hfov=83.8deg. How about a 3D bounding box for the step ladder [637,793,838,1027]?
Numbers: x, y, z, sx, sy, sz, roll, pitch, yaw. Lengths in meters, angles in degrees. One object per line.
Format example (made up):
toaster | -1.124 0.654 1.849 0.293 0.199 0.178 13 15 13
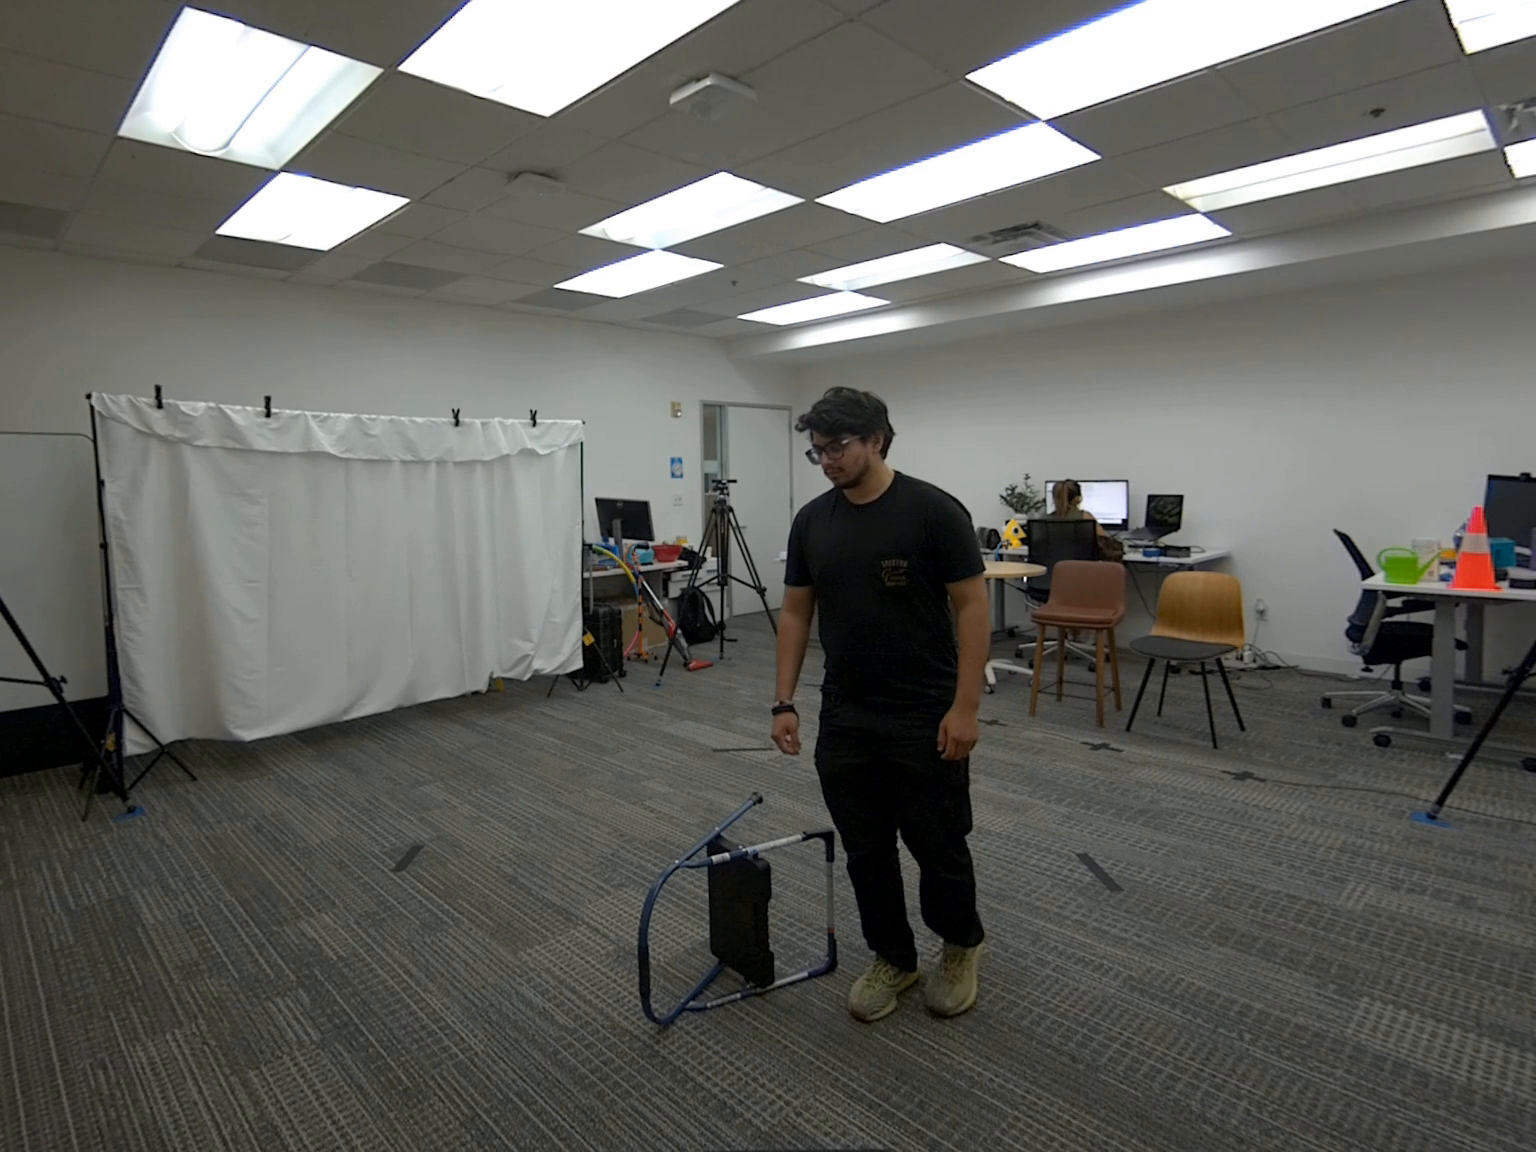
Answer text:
step ladder | -0.133 0.928 2.358 0.591 0.428 0.360 -8 7 -41
